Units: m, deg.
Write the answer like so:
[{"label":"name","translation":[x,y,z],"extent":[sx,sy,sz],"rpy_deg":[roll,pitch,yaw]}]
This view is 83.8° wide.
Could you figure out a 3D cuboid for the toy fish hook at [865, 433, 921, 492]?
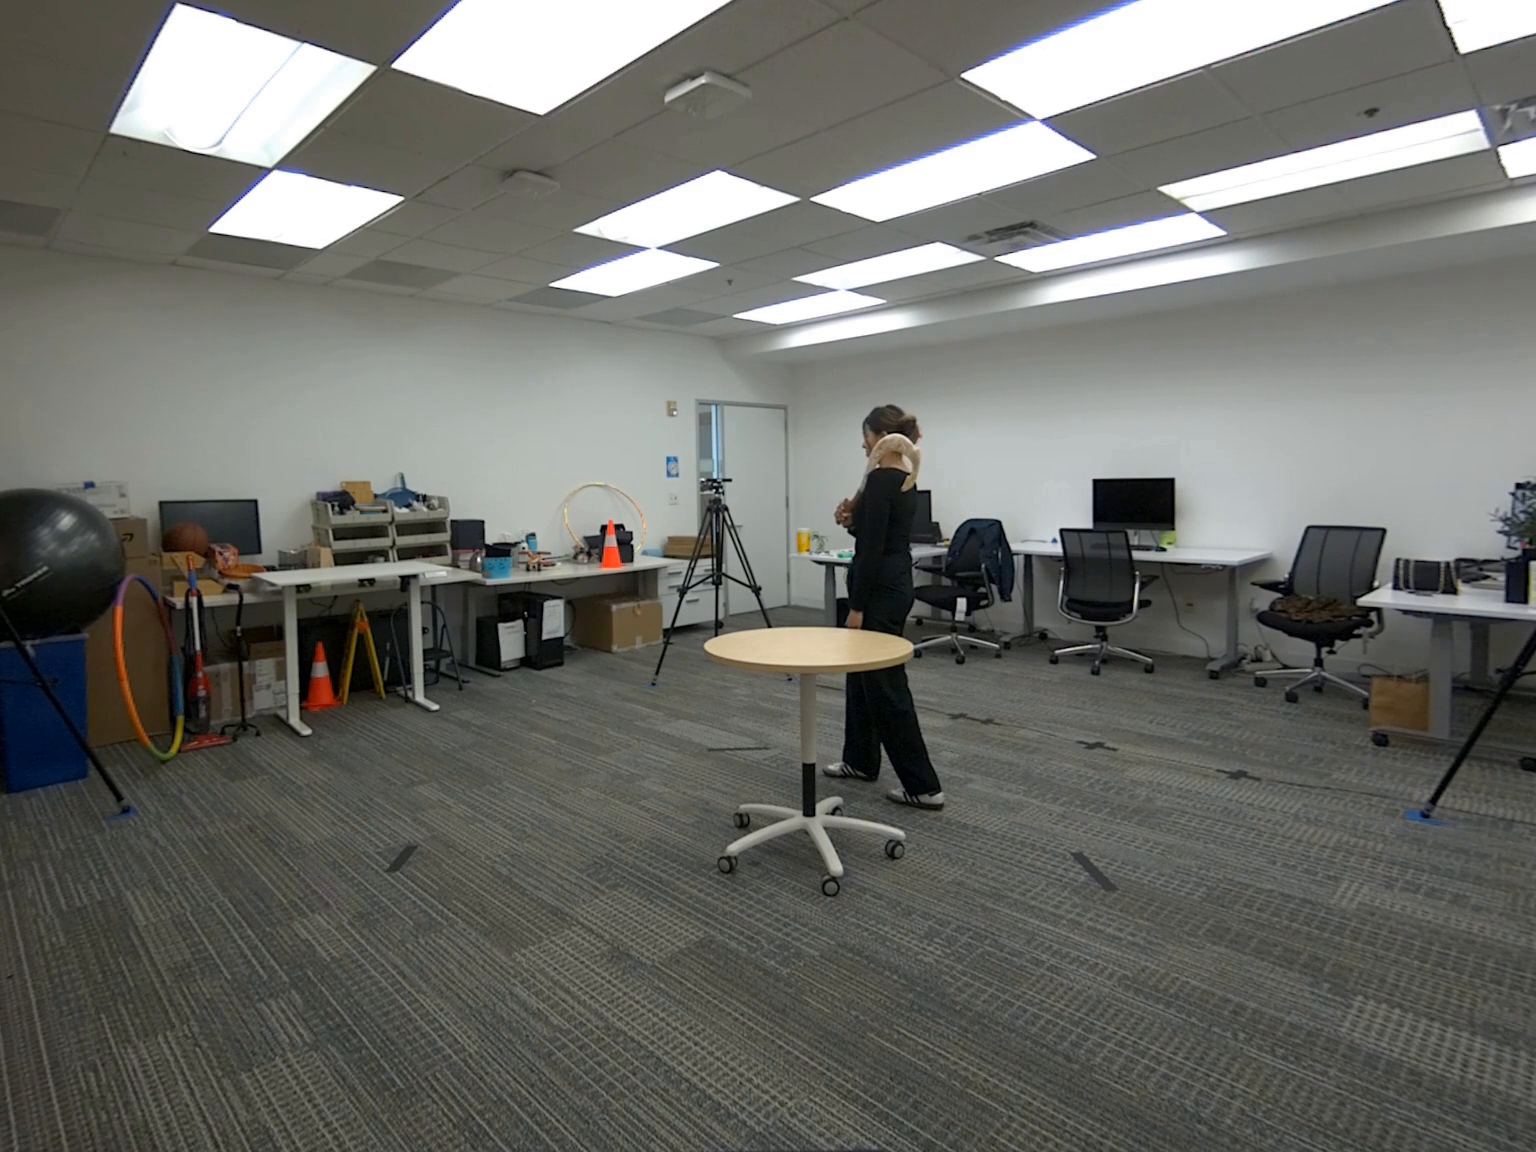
[{"label":"toy fish hook","translation":[0.476,-0.375,3.648],"extent":[0.230,0.503,0.047],"rpy_deg":[46,34,20]}]
